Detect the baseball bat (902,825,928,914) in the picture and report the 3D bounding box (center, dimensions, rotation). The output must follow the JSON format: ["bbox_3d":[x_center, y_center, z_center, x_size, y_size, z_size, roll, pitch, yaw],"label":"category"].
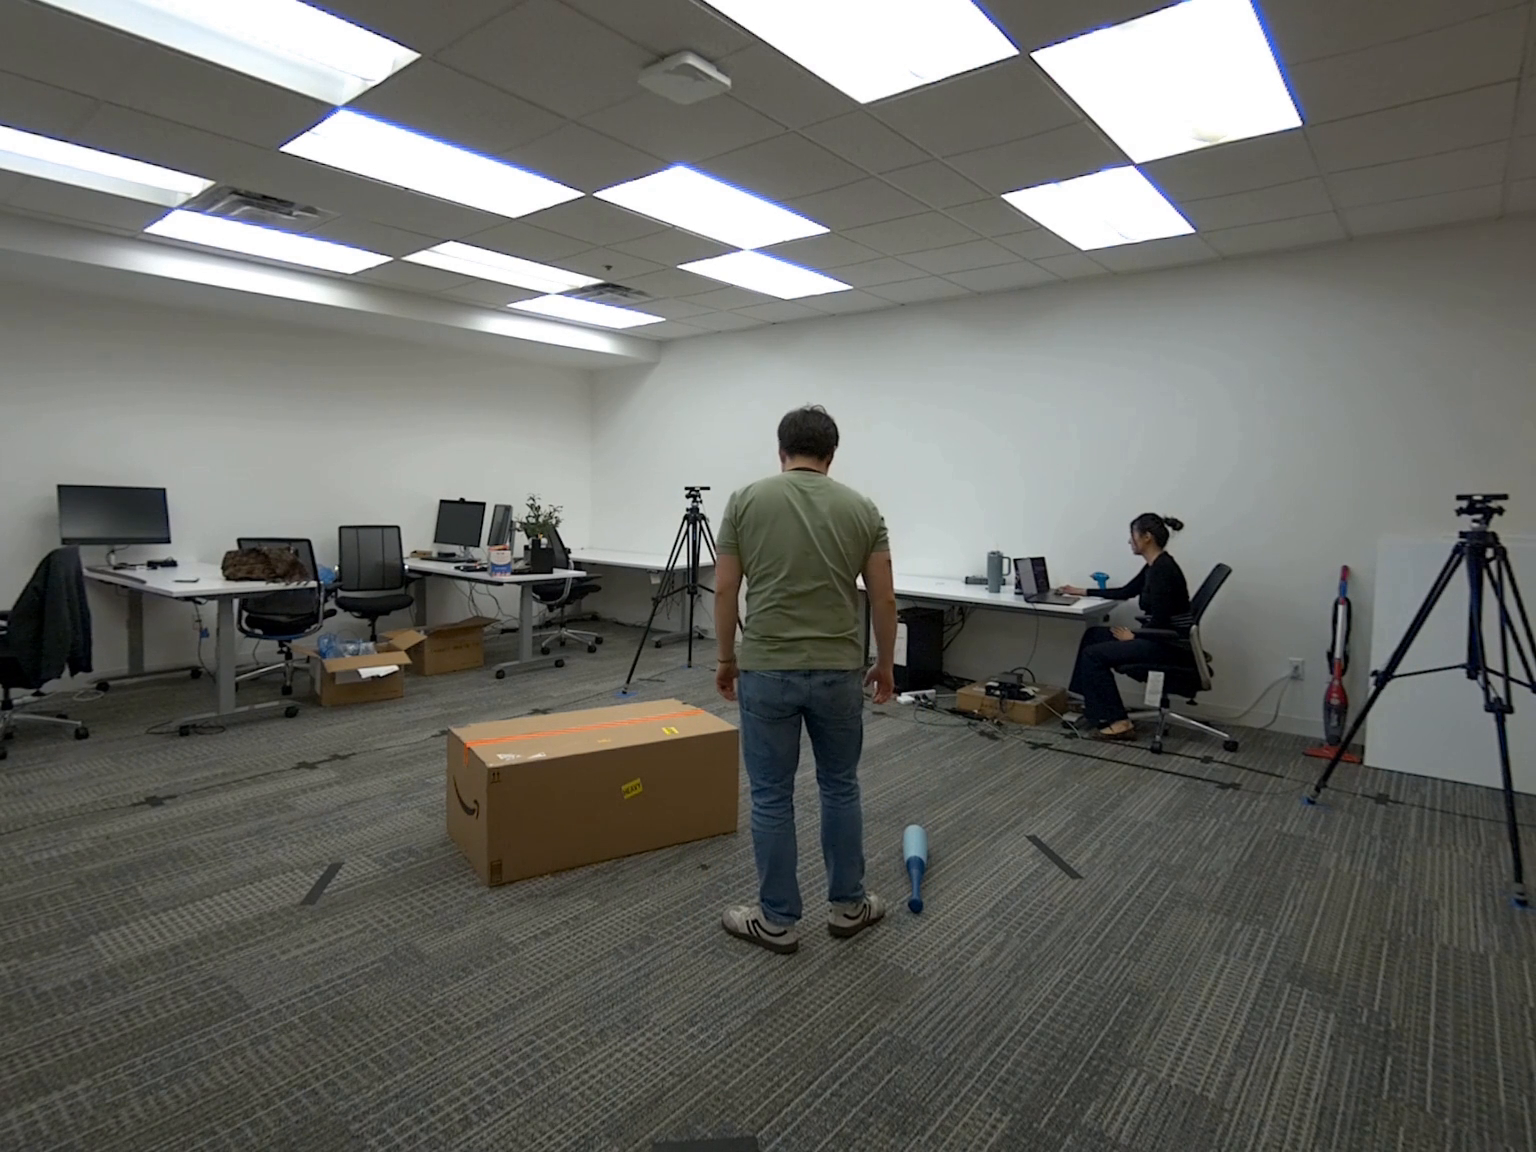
[{"bbox_3d":[0.521,1.044,3.062,0.090,0.088,0.541,1,9,8],"label":"baseball bat"}]
